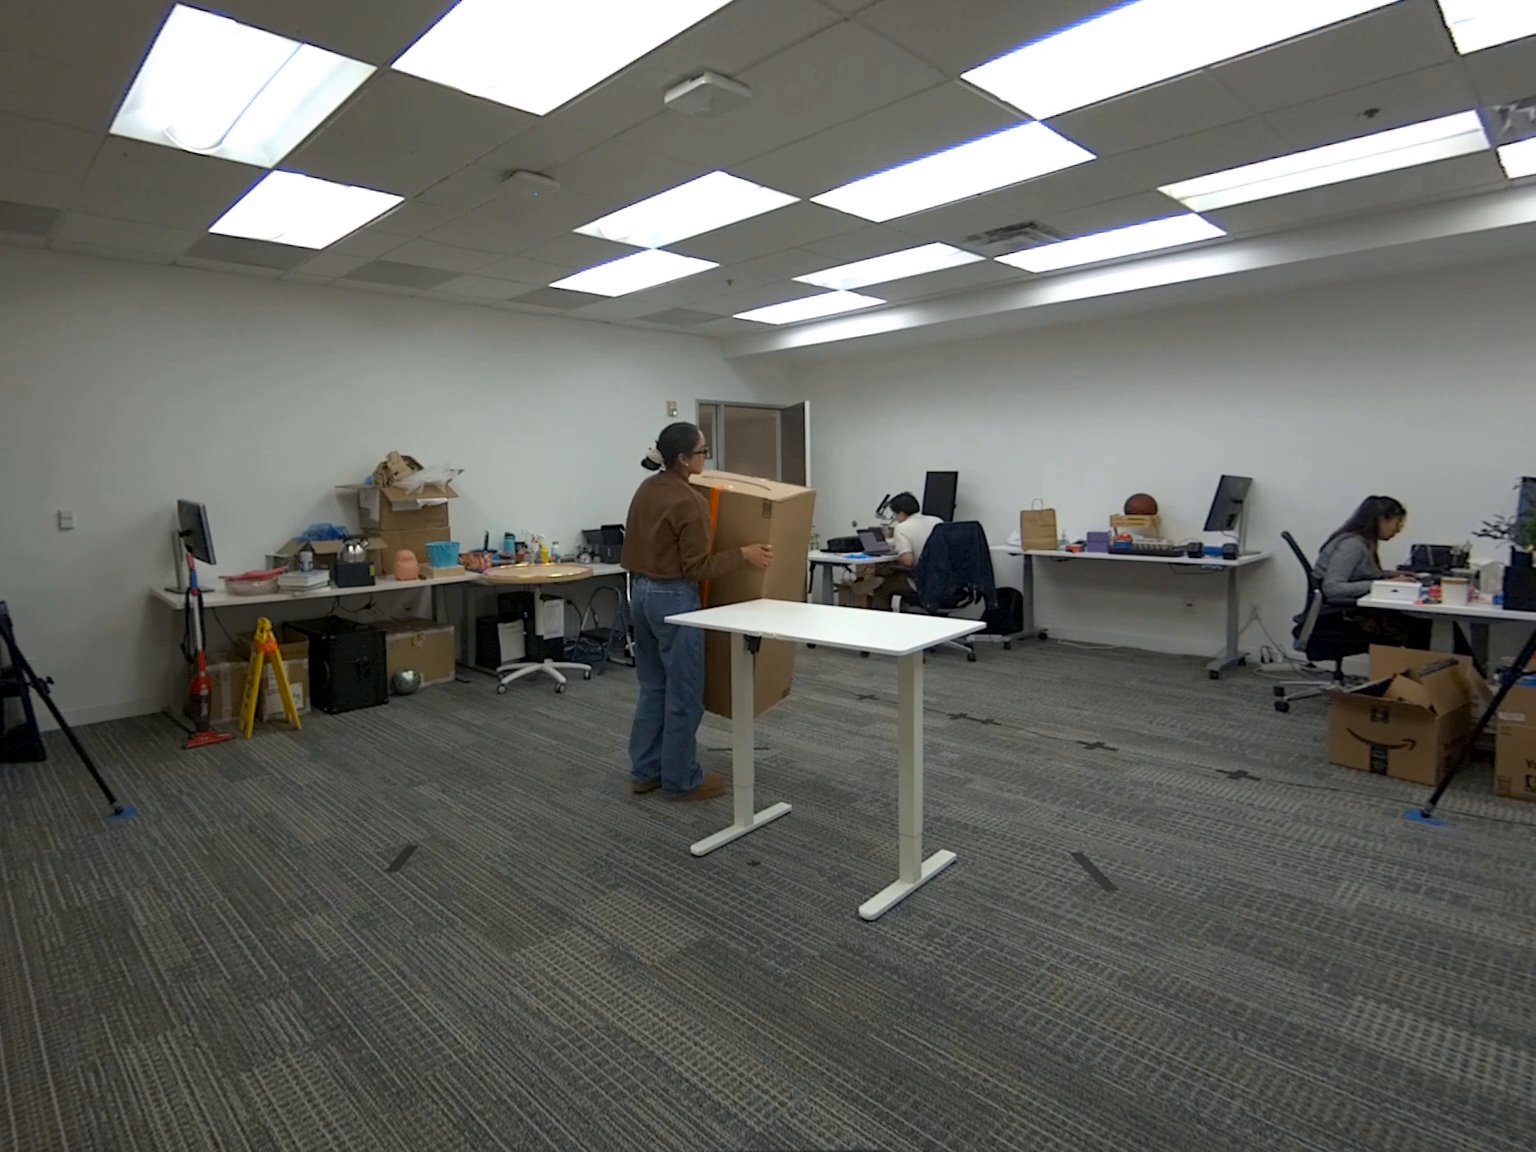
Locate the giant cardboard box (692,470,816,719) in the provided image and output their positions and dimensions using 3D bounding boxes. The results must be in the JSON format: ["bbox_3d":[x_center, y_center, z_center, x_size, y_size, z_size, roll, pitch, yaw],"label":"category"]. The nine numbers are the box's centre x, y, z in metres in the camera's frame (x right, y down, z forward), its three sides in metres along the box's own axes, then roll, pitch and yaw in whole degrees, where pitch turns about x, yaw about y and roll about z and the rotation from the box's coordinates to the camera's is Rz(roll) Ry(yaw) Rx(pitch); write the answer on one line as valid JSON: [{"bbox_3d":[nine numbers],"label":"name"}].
[{"bbox_3d":[-0.173,0.074,3.968,0.594,1.015,0.418,13,15,28],"label":"giant cardboard box"}]
